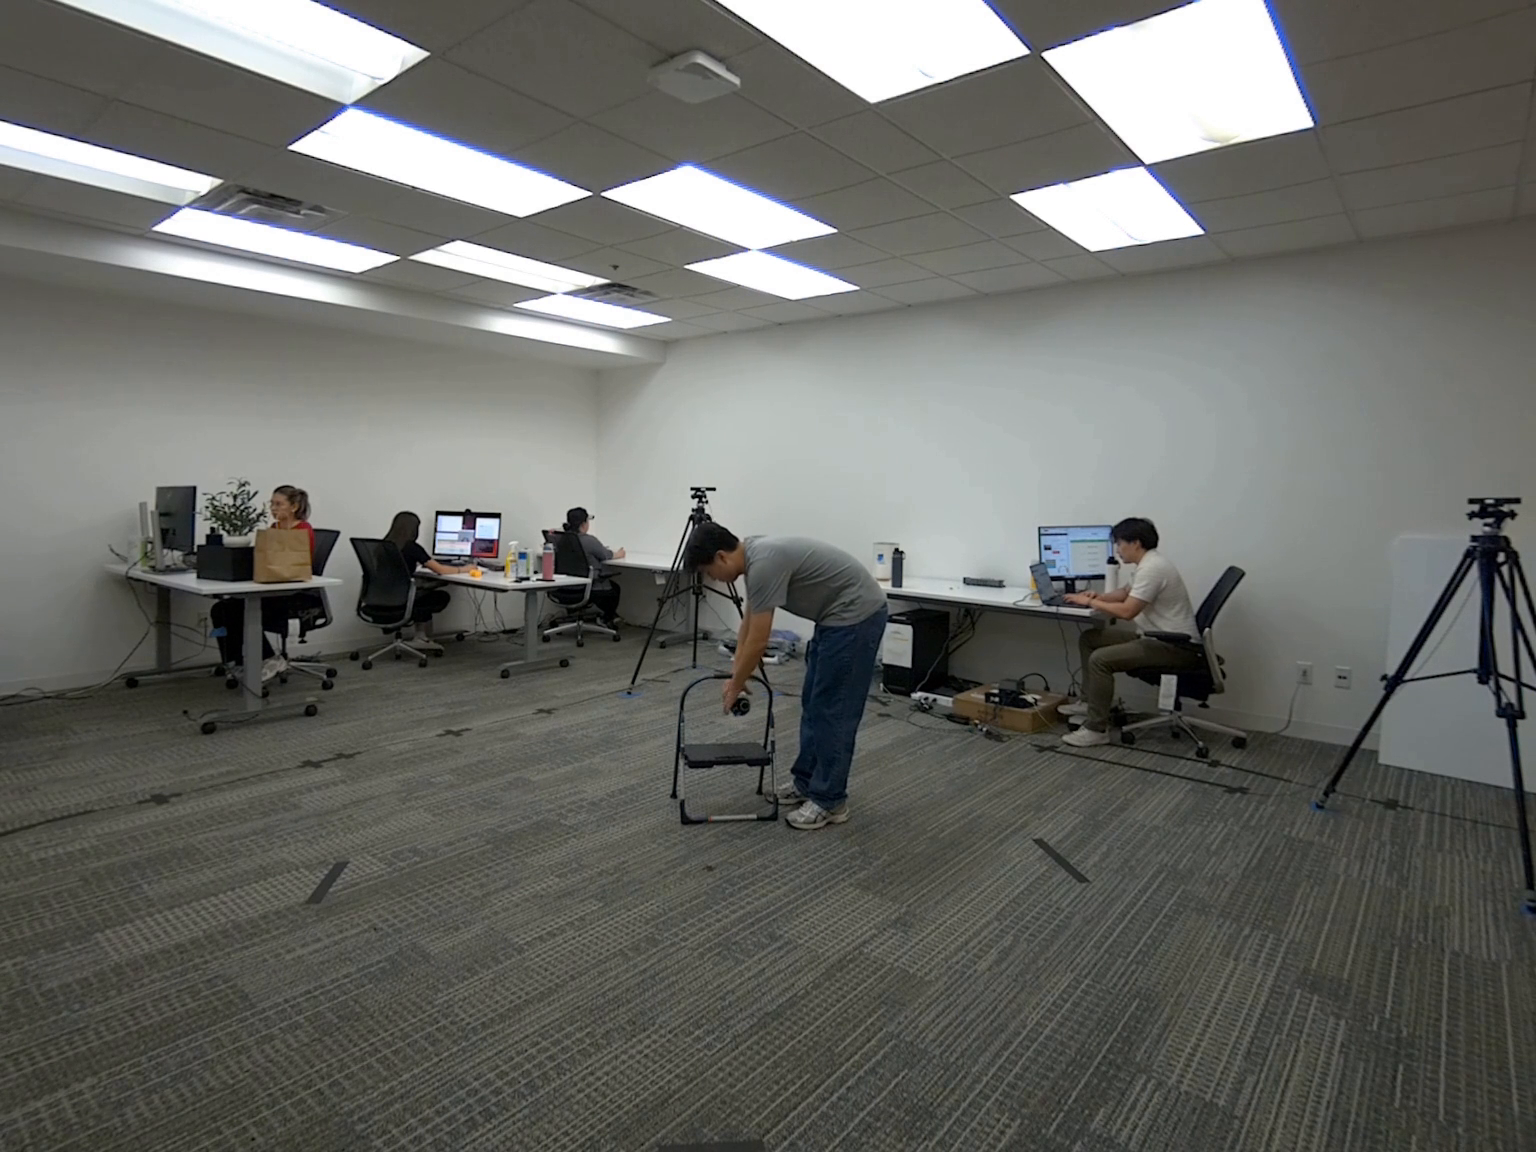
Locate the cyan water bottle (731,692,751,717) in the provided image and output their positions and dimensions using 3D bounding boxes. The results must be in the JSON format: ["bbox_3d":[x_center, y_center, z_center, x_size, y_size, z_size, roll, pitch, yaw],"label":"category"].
[{"bbox_3d":[-0.143,0.532,3.768,0.092,0.091,0.287,0,9,-6],"label":"cyan water bottle"}]
